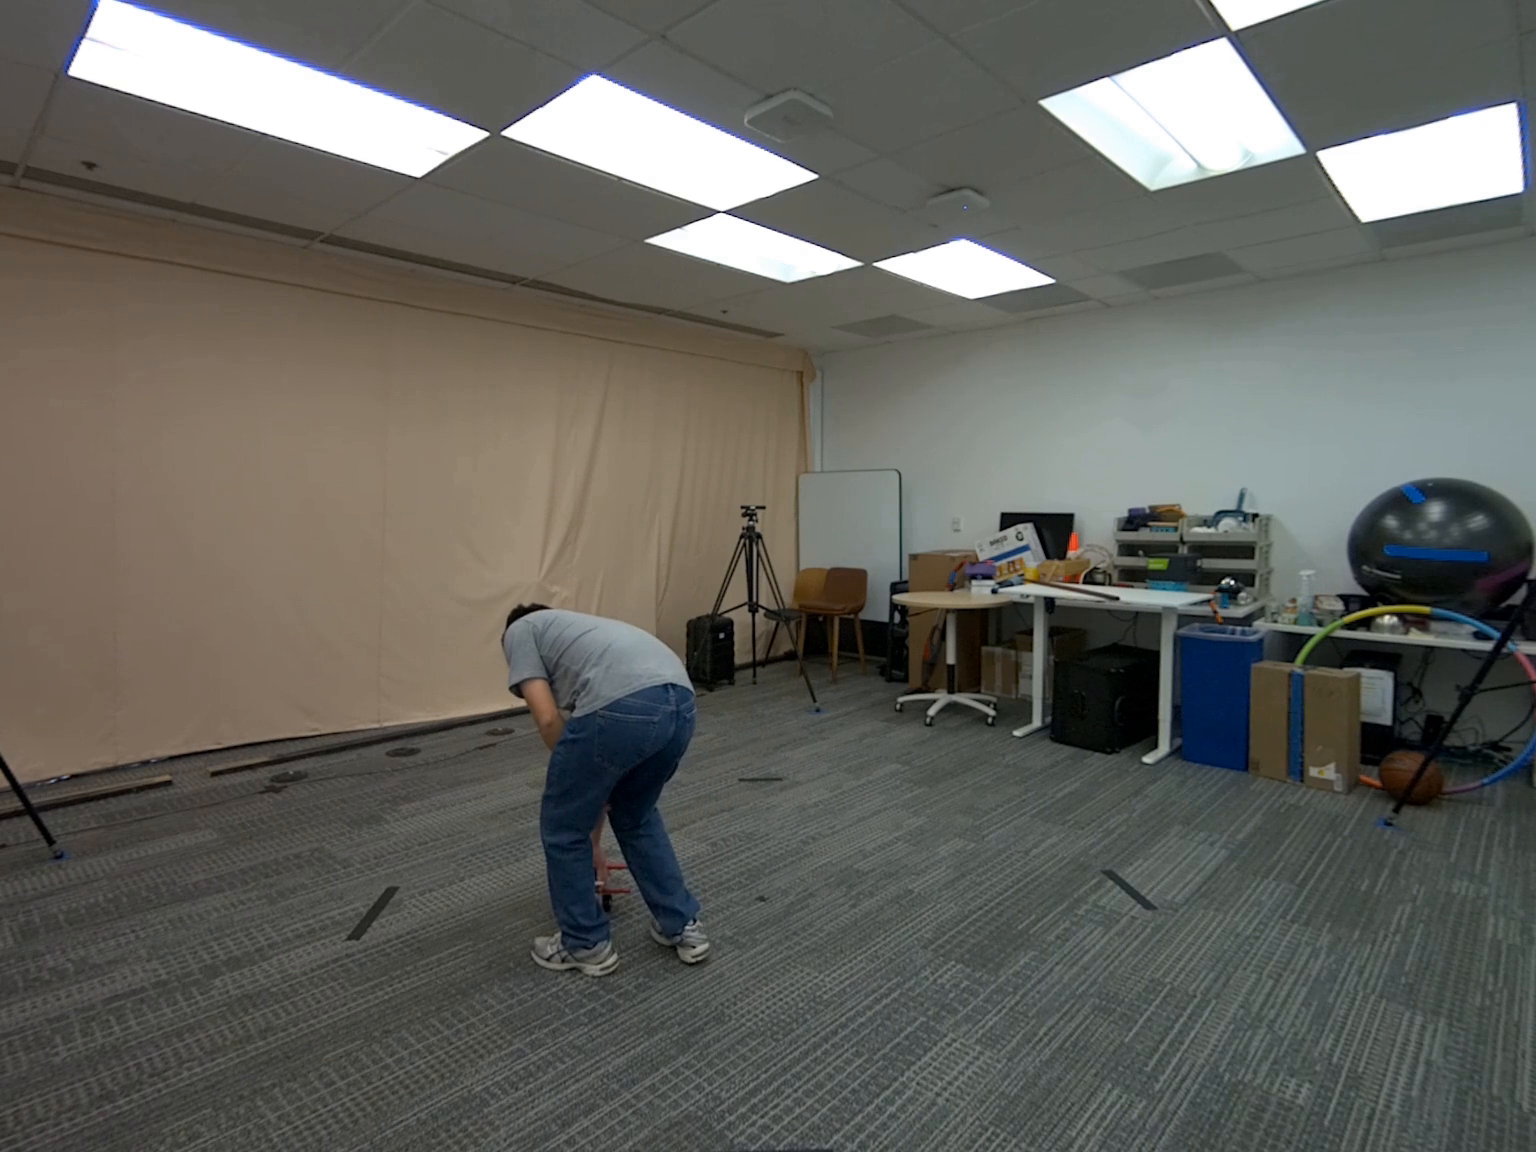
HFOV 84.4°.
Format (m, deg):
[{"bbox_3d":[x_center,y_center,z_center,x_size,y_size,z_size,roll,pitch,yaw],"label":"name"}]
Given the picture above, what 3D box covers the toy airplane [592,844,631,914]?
[{"bbox_3d":[-0.578,1.051,2.870,0.245,0.159,0.262,15,-32,-24],"label":"toy airplane"}]
